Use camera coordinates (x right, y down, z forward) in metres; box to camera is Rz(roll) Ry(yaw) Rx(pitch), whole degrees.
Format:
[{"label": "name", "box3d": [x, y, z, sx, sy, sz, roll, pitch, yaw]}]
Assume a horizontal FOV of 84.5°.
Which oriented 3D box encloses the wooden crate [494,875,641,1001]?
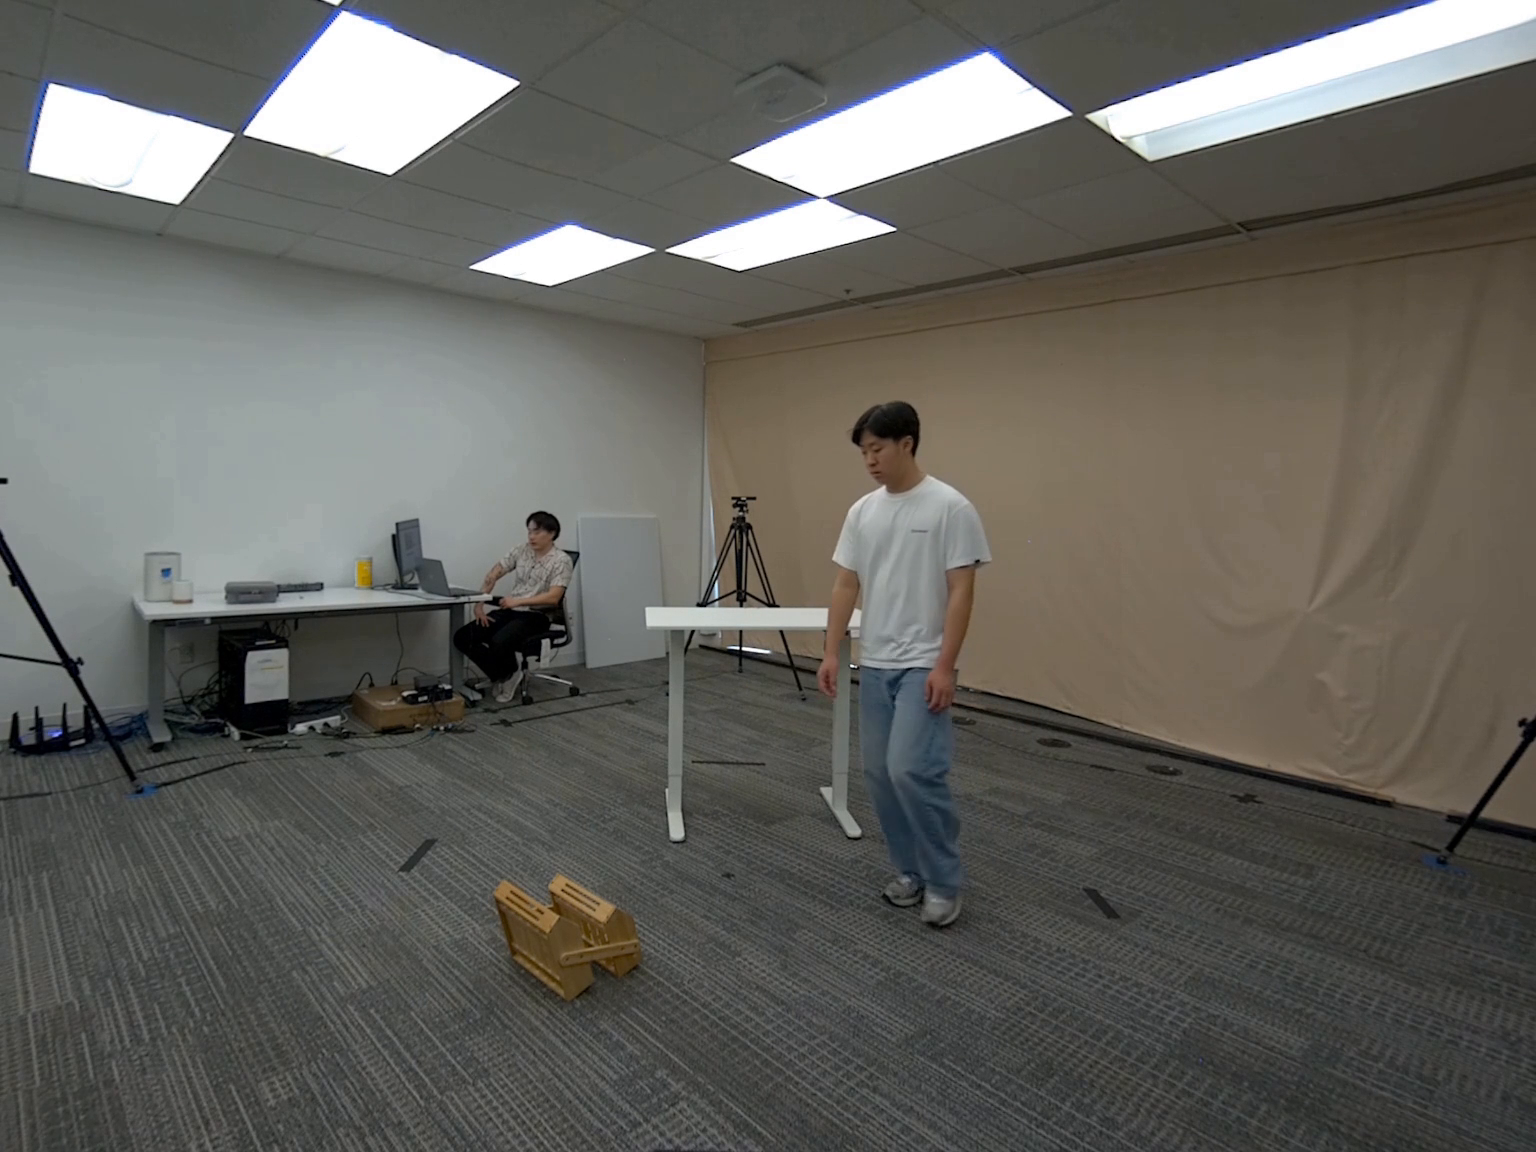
[{"label": "wooden crate", "box3d": [-0.592, 1.019, 2.476, 0.333, 0.298, 0.270, 5, 23, 44]}]
